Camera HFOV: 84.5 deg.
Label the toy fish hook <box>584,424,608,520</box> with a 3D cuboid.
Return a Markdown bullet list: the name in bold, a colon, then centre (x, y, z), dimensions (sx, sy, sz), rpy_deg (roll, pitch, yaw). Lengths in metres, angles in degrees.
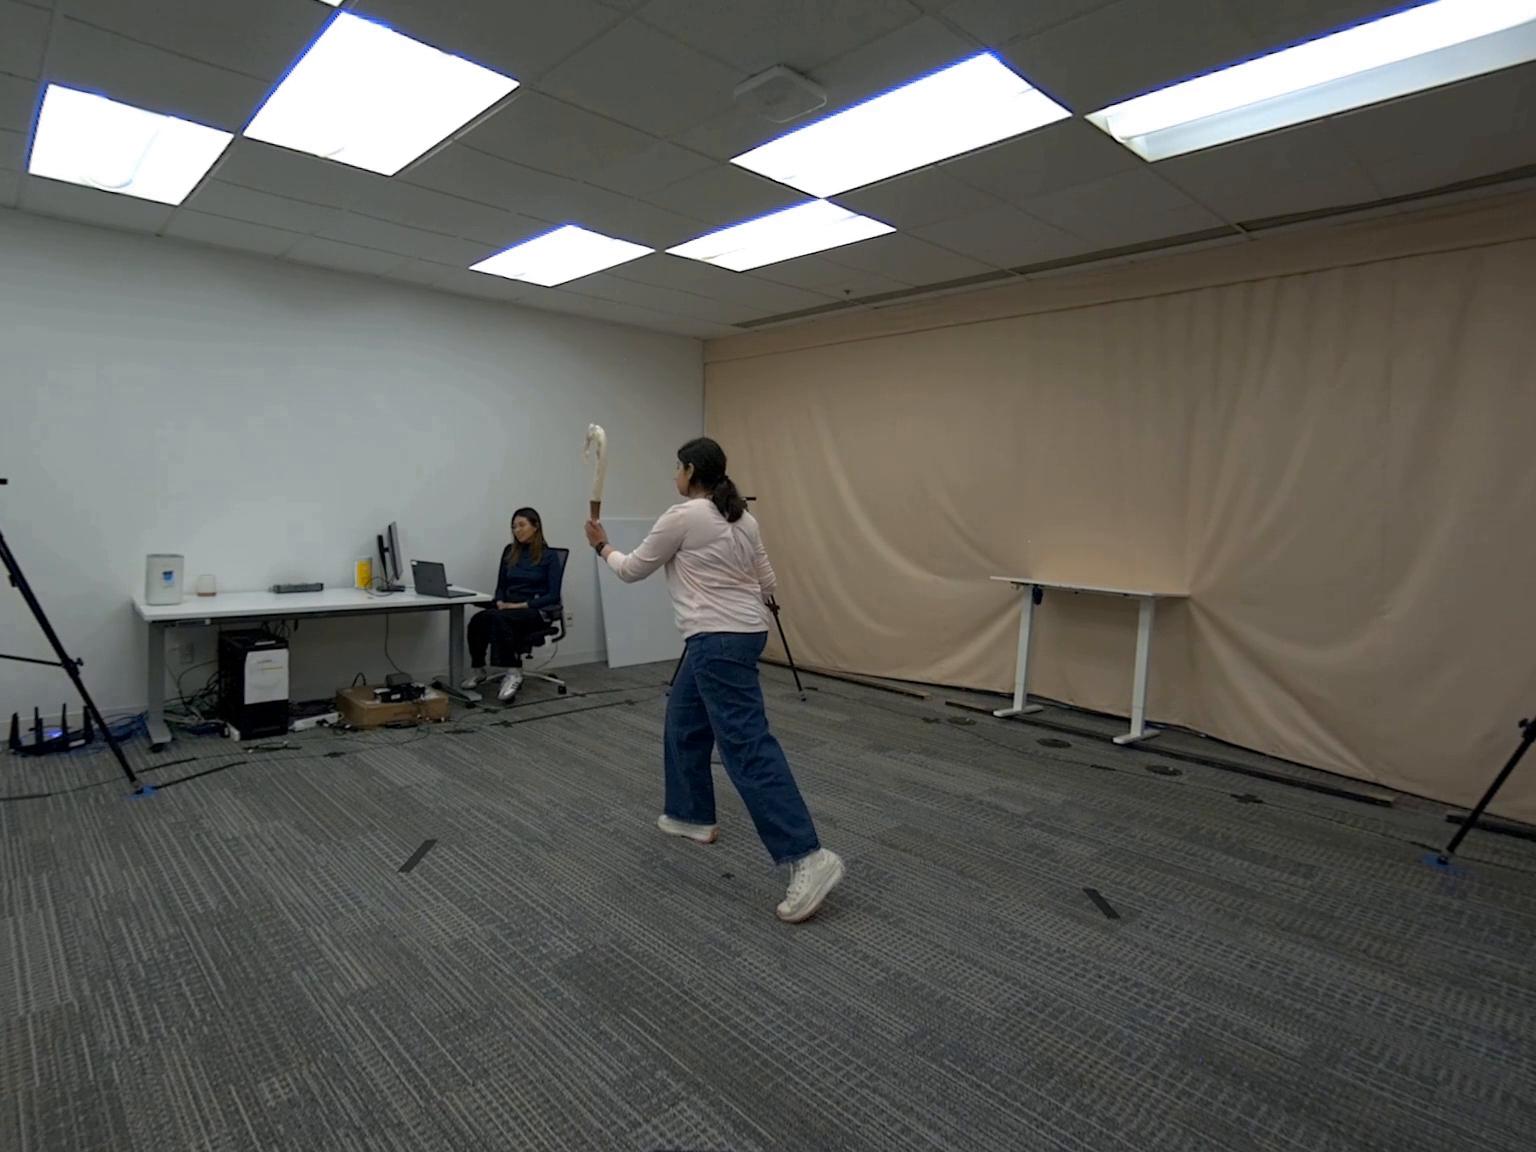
- **toy fish hook**: centre (-0.744, -0.374, 3.535), dimensions (0.047, 0.502, 0.231), rpy_deg (-2, 14, -29)
